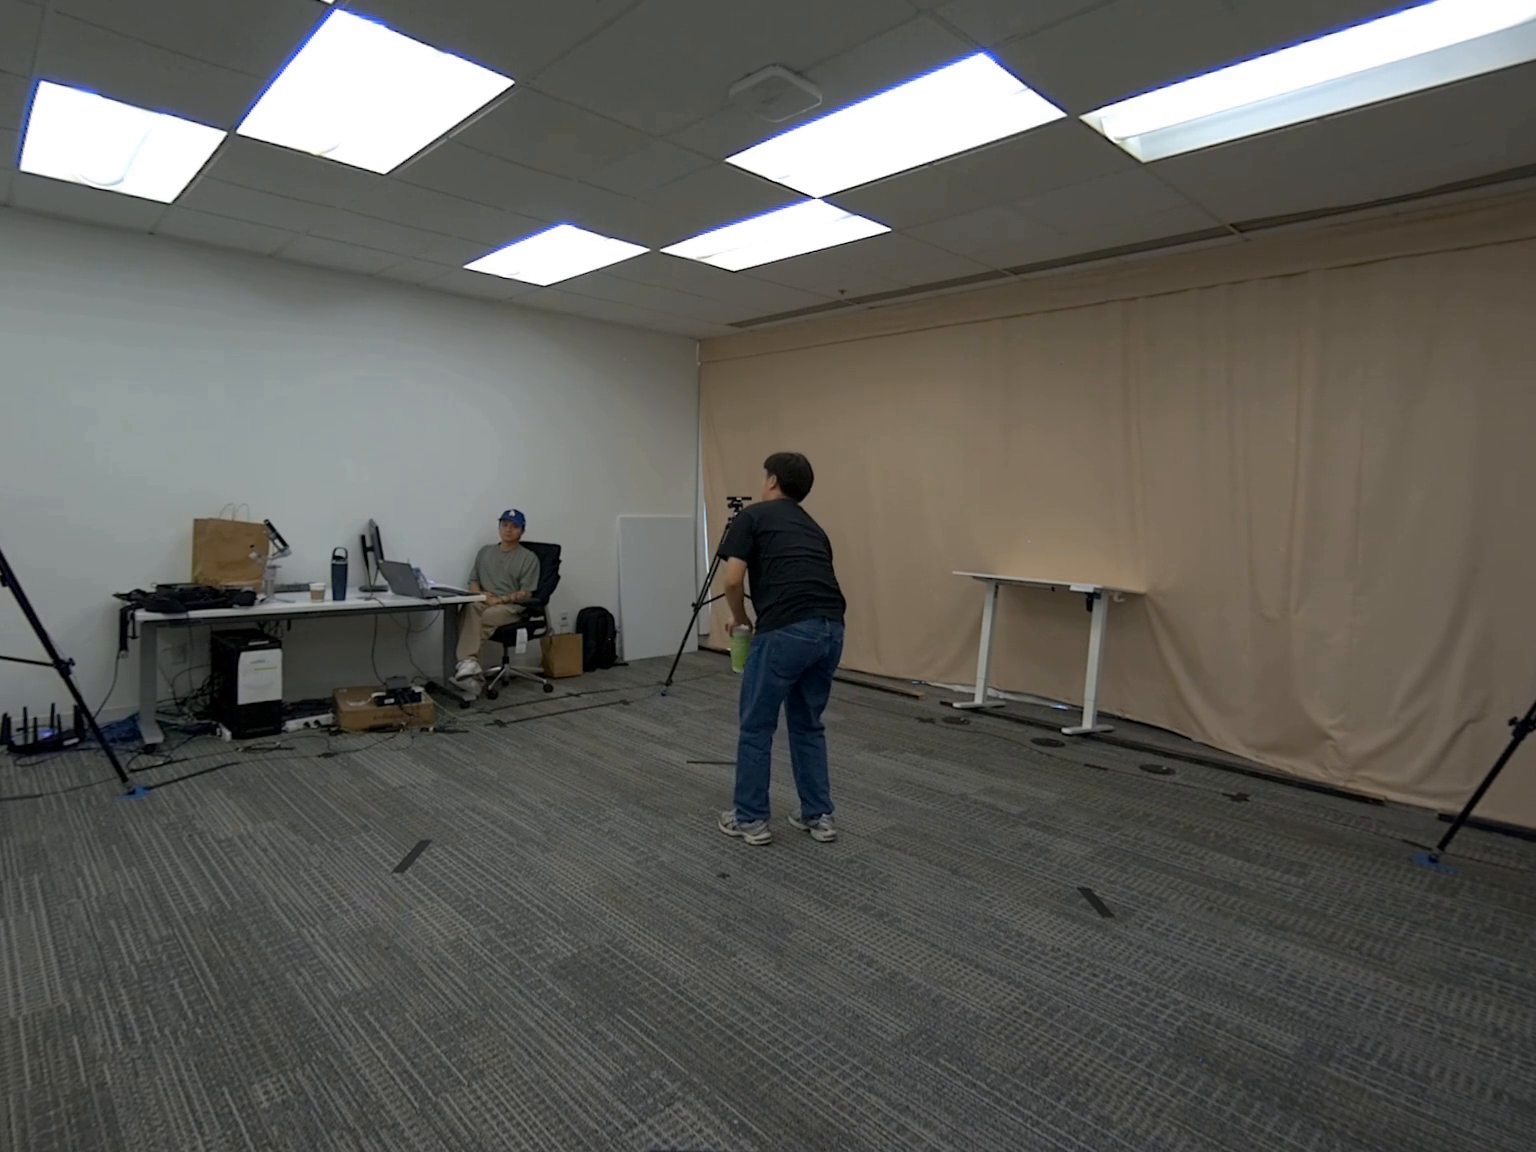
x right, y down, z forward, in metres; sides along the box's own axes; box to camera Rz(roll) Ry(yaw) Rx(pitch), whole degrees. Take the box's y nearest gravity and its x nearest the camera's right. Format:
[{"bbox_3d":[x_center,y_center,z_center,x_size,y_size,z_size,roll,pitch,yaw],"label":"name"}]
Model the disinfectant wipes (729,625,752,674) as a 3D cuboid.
[{"bbox_3d":[-0.119,0.323,3.739,0.118,0.215,0.119,-2,16,-1],"label":"disinfectant wipes"}]
